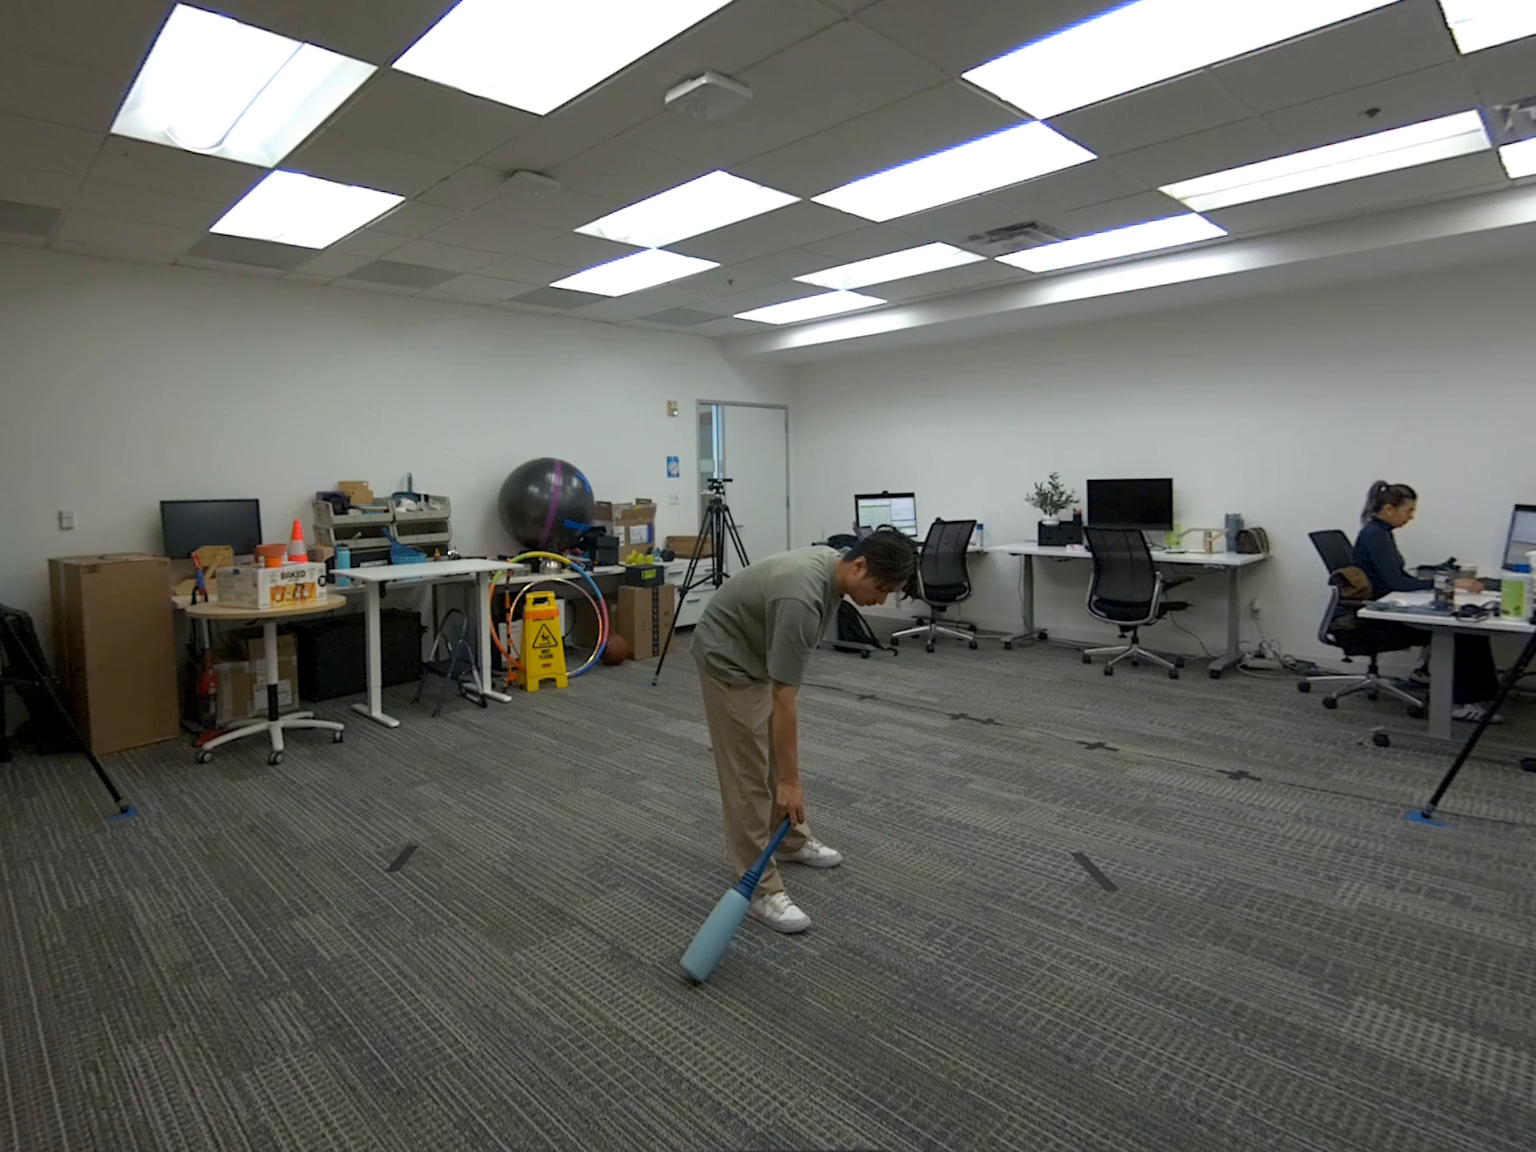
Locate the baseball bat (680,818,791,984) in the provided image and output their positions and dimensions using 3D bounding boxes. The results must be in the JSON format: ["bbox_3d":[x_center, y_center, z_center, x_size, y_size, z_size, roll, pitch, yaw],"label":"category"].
[{"bbox_3d":[-0.059,0.916,2.477,0.092,0.086,0.544,5,51,53],"label":"baseball bat"}]
